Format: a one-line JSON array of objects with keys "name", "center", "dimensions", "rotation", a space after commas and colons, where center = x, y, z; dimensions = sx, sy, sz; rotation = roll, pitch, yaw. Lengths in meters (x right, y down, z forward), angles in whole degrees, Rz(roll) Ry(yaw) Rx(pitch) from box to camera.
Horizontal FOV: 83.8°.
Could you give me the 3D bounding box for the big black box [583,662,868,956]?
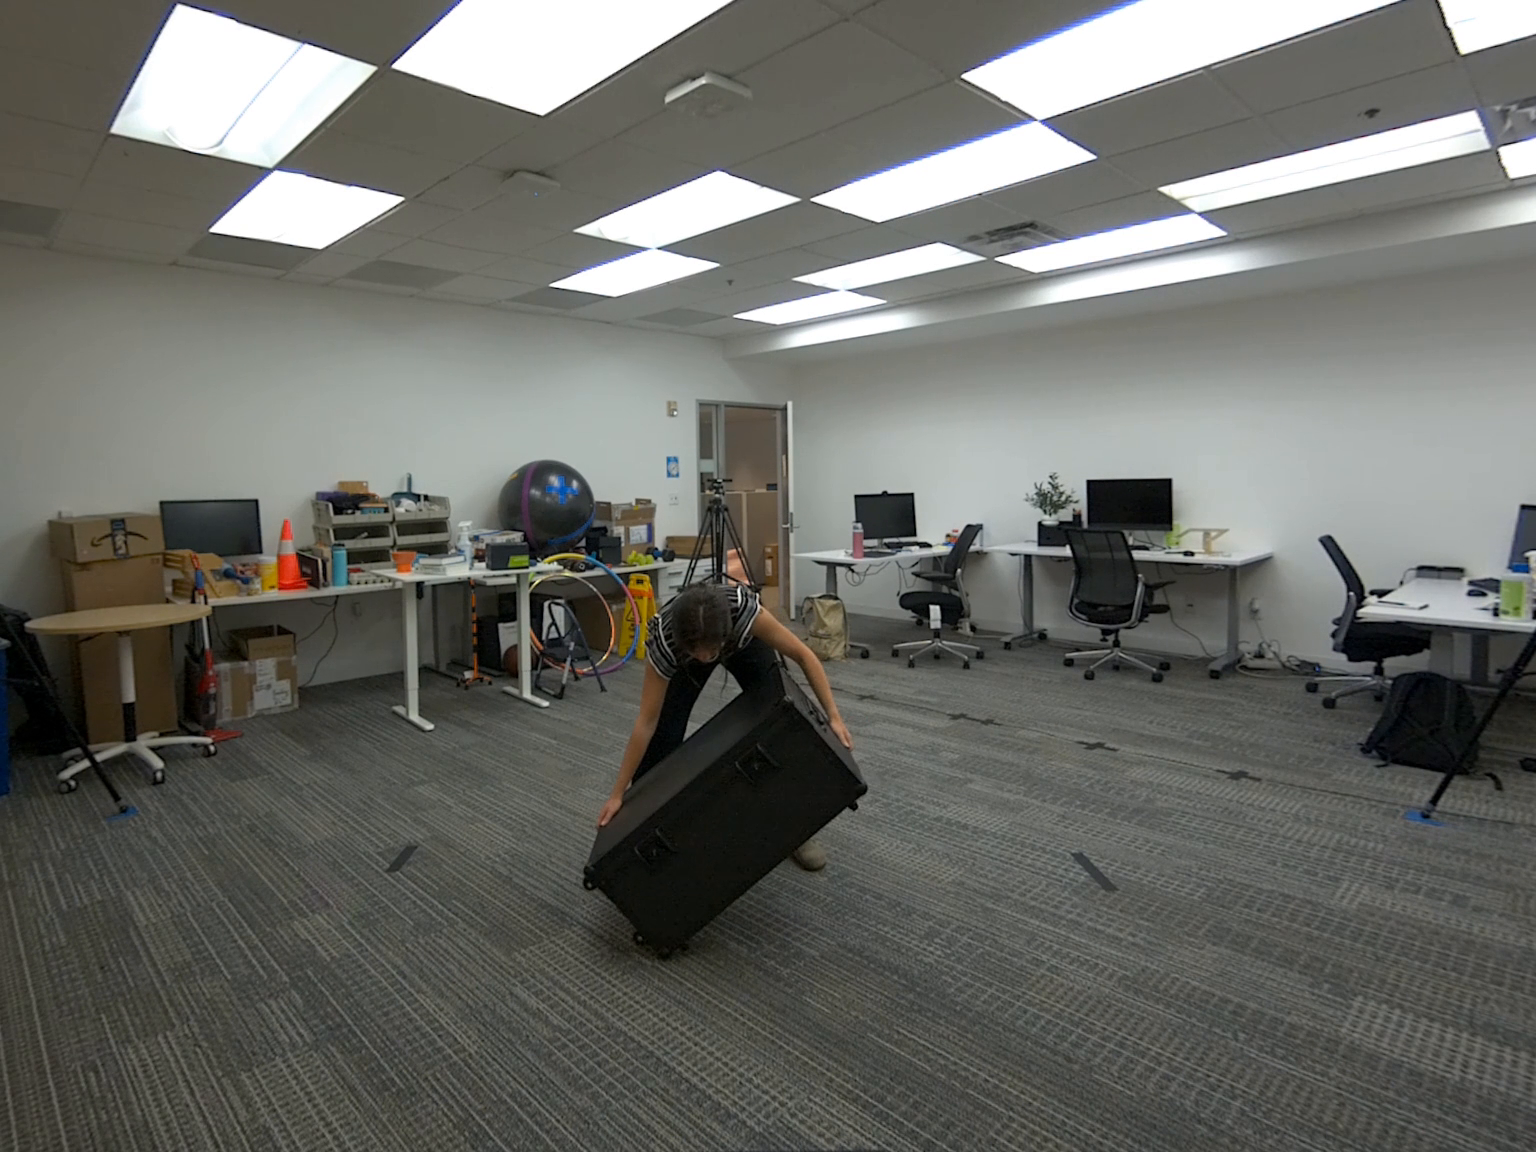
[{"name": "big black box", "center": [-0.146, 0.731, 2.690], "dimensions": [0.861, 0.394, 0.524], "rotation": [-40, 5, 2]}]
